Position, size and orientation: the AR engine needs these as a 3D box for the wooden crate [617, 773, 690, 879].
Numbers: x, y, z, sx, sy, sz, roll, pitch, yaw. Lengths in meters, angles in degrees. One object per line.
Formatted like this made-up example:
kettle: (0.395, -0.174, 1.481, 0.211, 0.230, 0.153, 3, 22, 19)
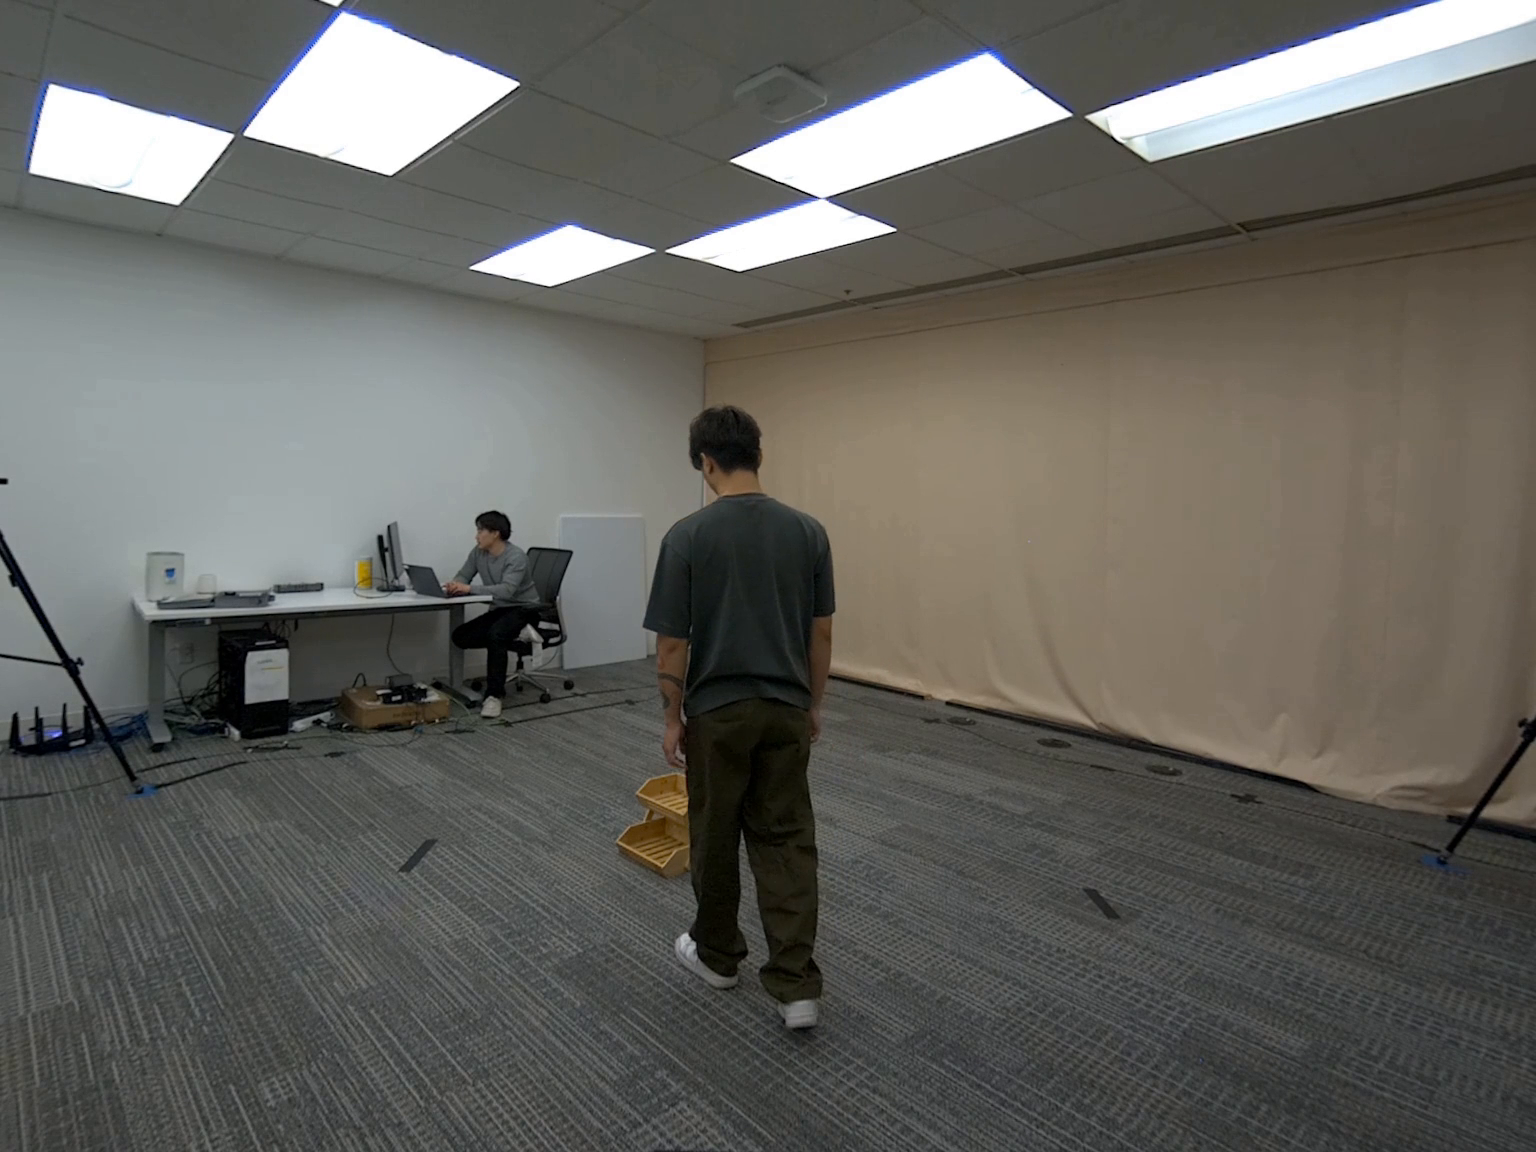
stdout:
wooden crate: (-0.388, 0.953, 3.258, 0.295, 0.272, 0.333, -2, 6, -43)
